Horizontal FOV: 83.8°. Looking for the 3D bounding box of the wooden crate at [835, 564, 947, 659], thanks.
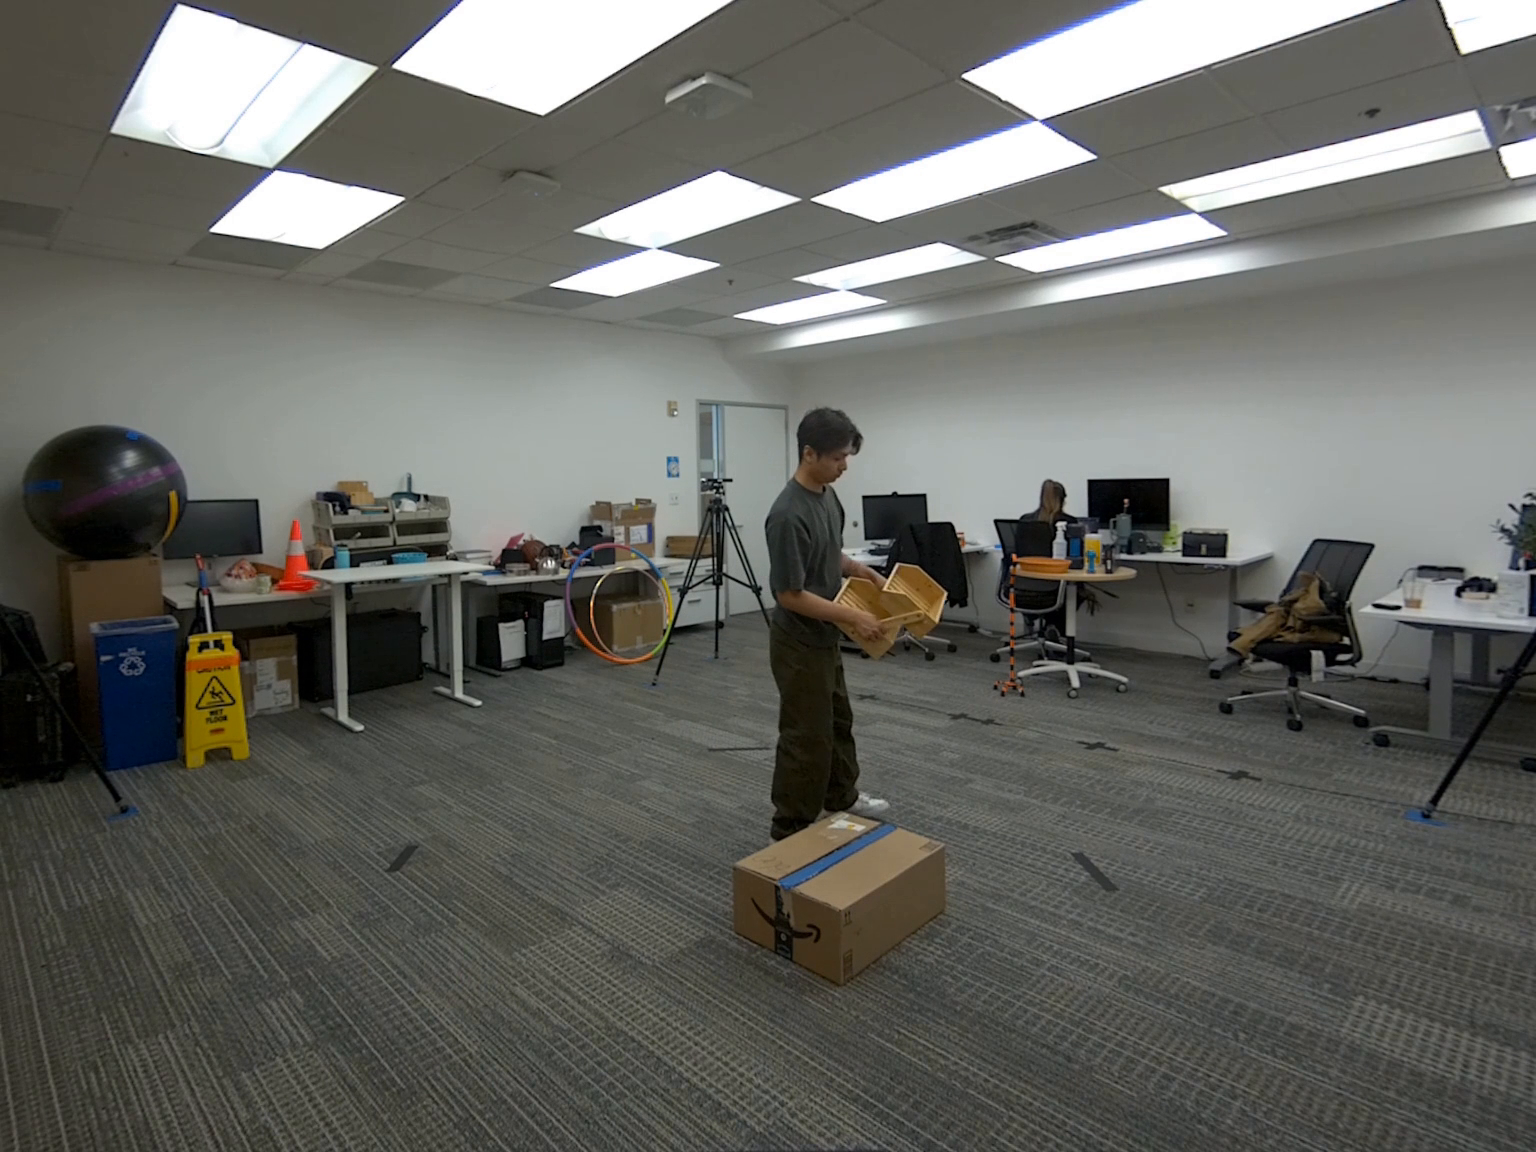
[{"bbox_3d":[0.432,0.092,3.088,0.303,0.273,0.323,42,27,2],"label":"wooden crate"}]
